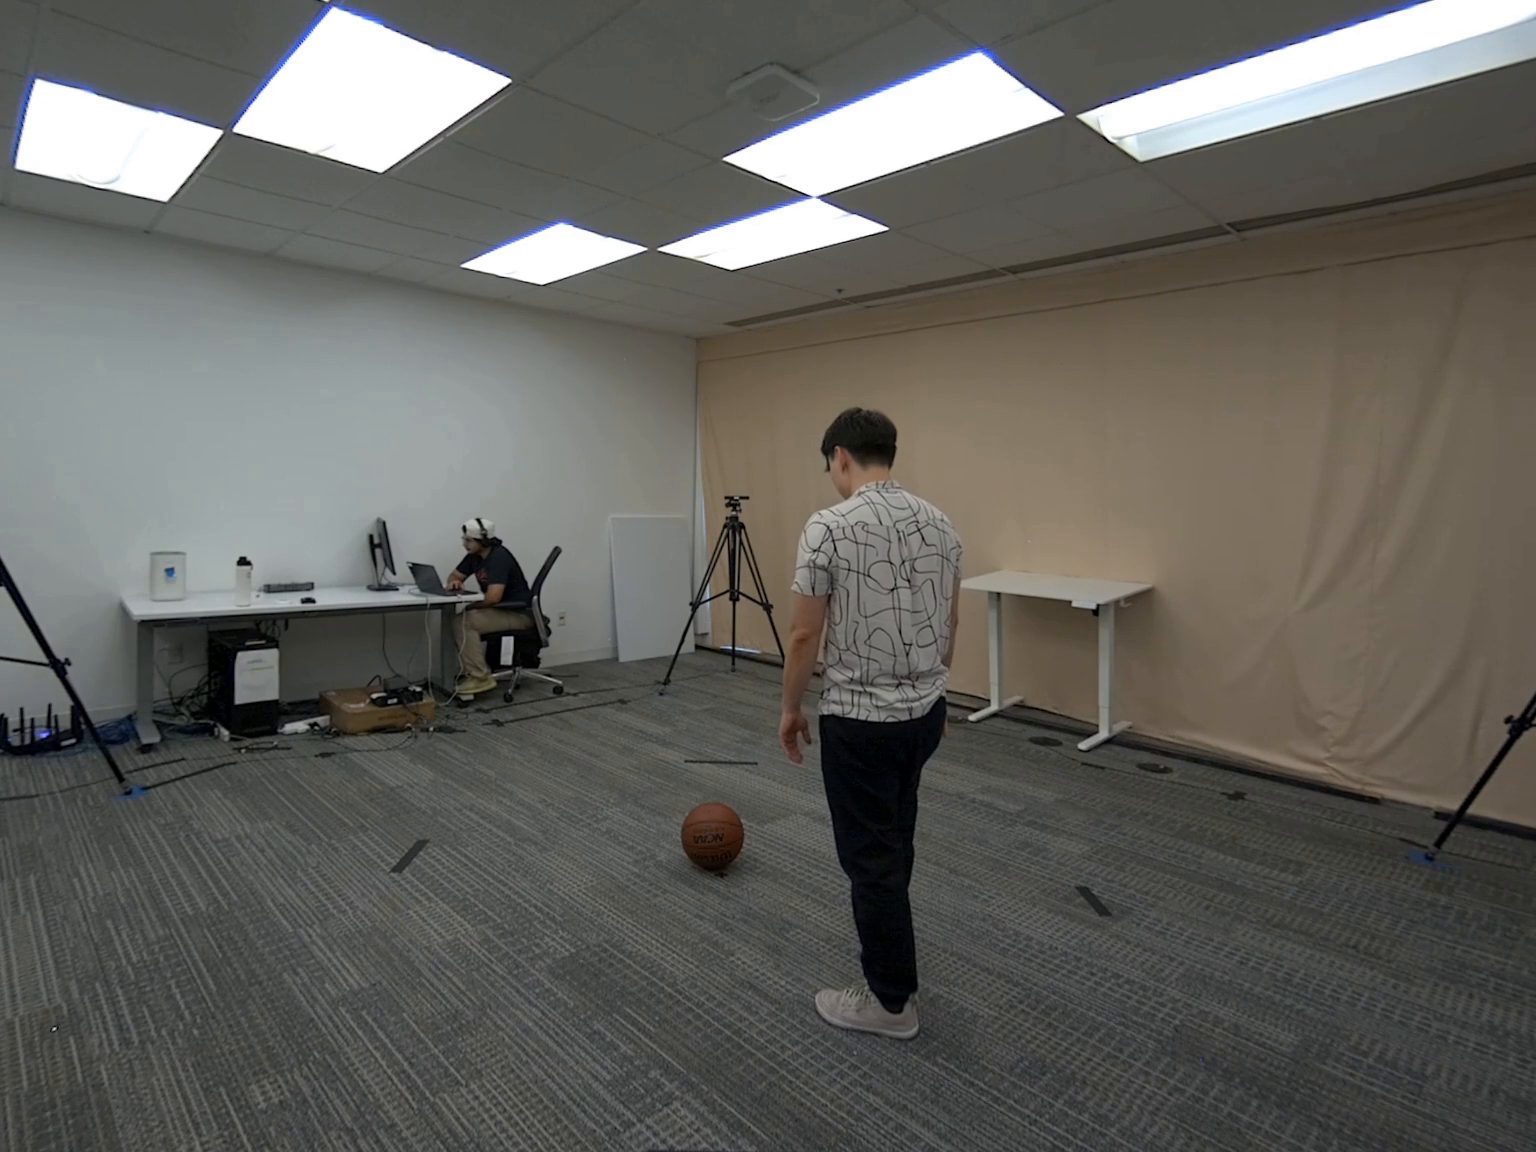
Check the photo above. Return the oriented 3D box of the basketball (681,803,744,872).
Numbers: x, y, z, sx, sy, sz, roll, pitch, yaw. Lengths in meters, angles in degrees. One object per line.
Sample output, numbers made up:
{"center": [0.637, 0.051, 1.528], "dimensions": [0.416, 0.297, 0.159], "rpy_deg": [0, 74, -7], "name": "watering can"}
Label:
{"center": [-0.212, 0.972, 3.171], "dimensions": [0.236, 0.235, 0.237], "rpy_deg": [1, 4, -1], "name": "basketball"}
